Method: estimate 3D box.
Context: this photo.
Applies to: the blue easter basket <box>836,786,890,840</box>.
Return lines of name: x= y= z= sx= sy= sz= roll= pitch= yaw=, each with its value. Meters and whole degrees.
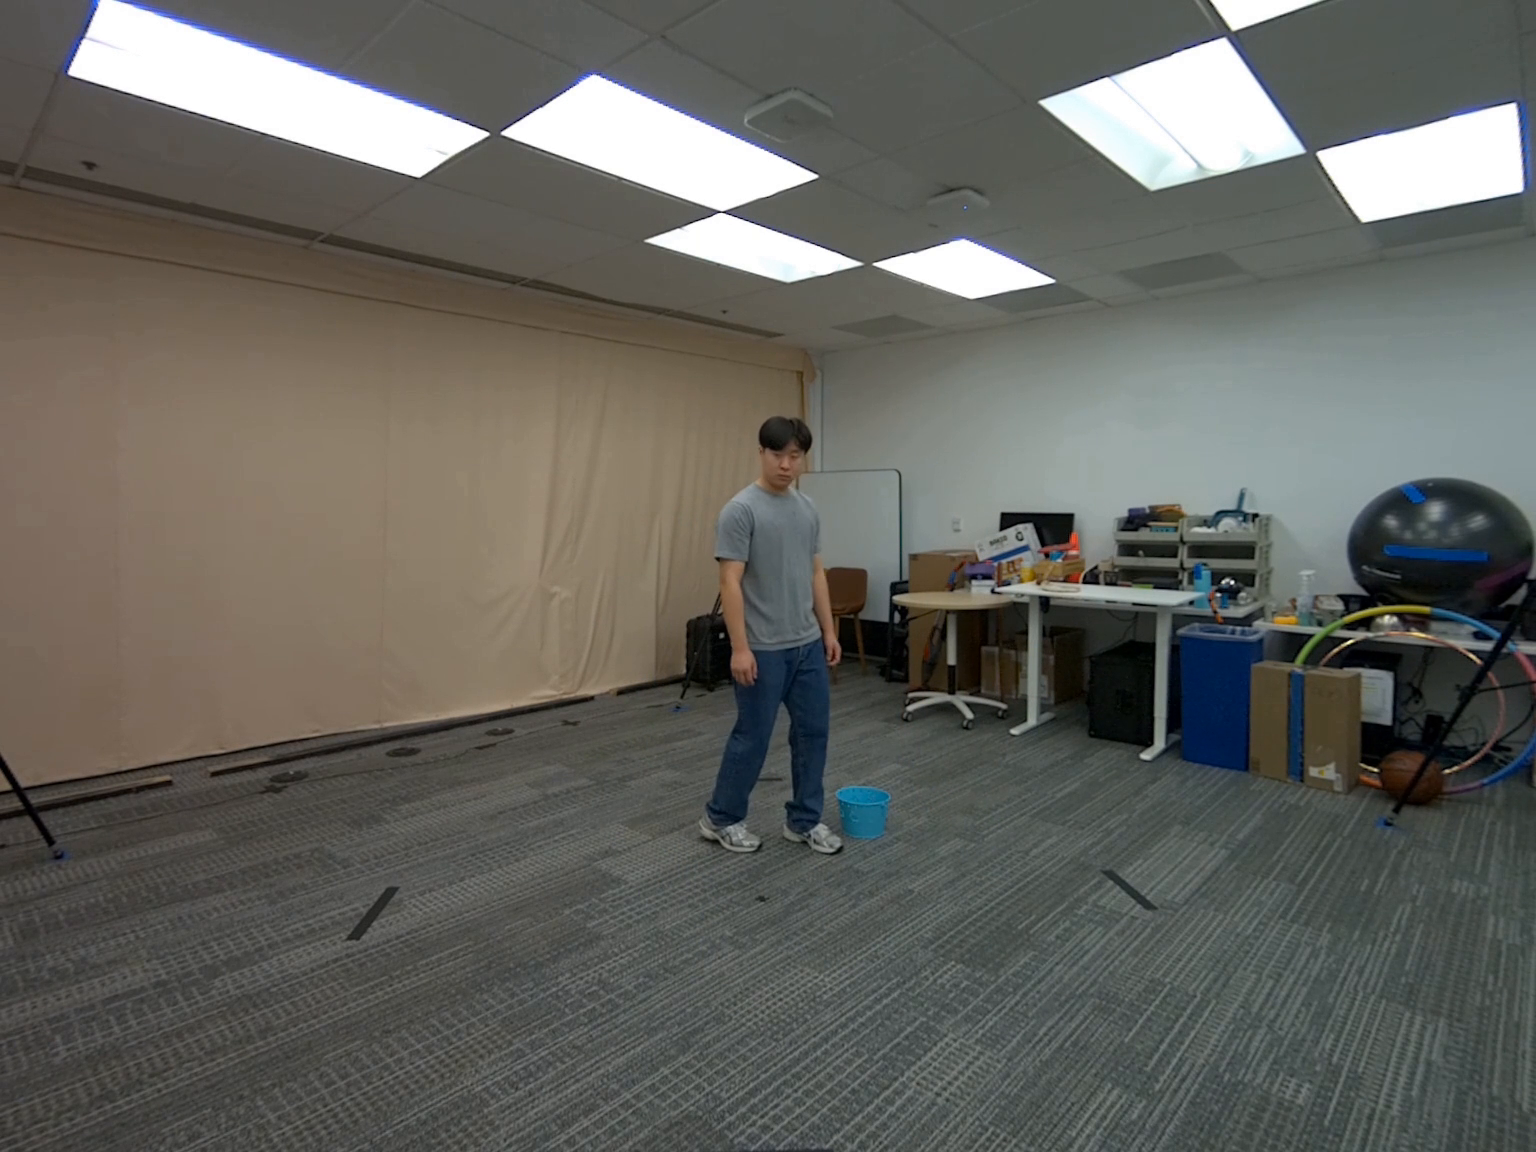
blue easter basket: x=0.412 y=1.012 z=3.608 sx=0.243 sy=0.155 sz=0.245 roll=0 pitch=5 yaw=-2
